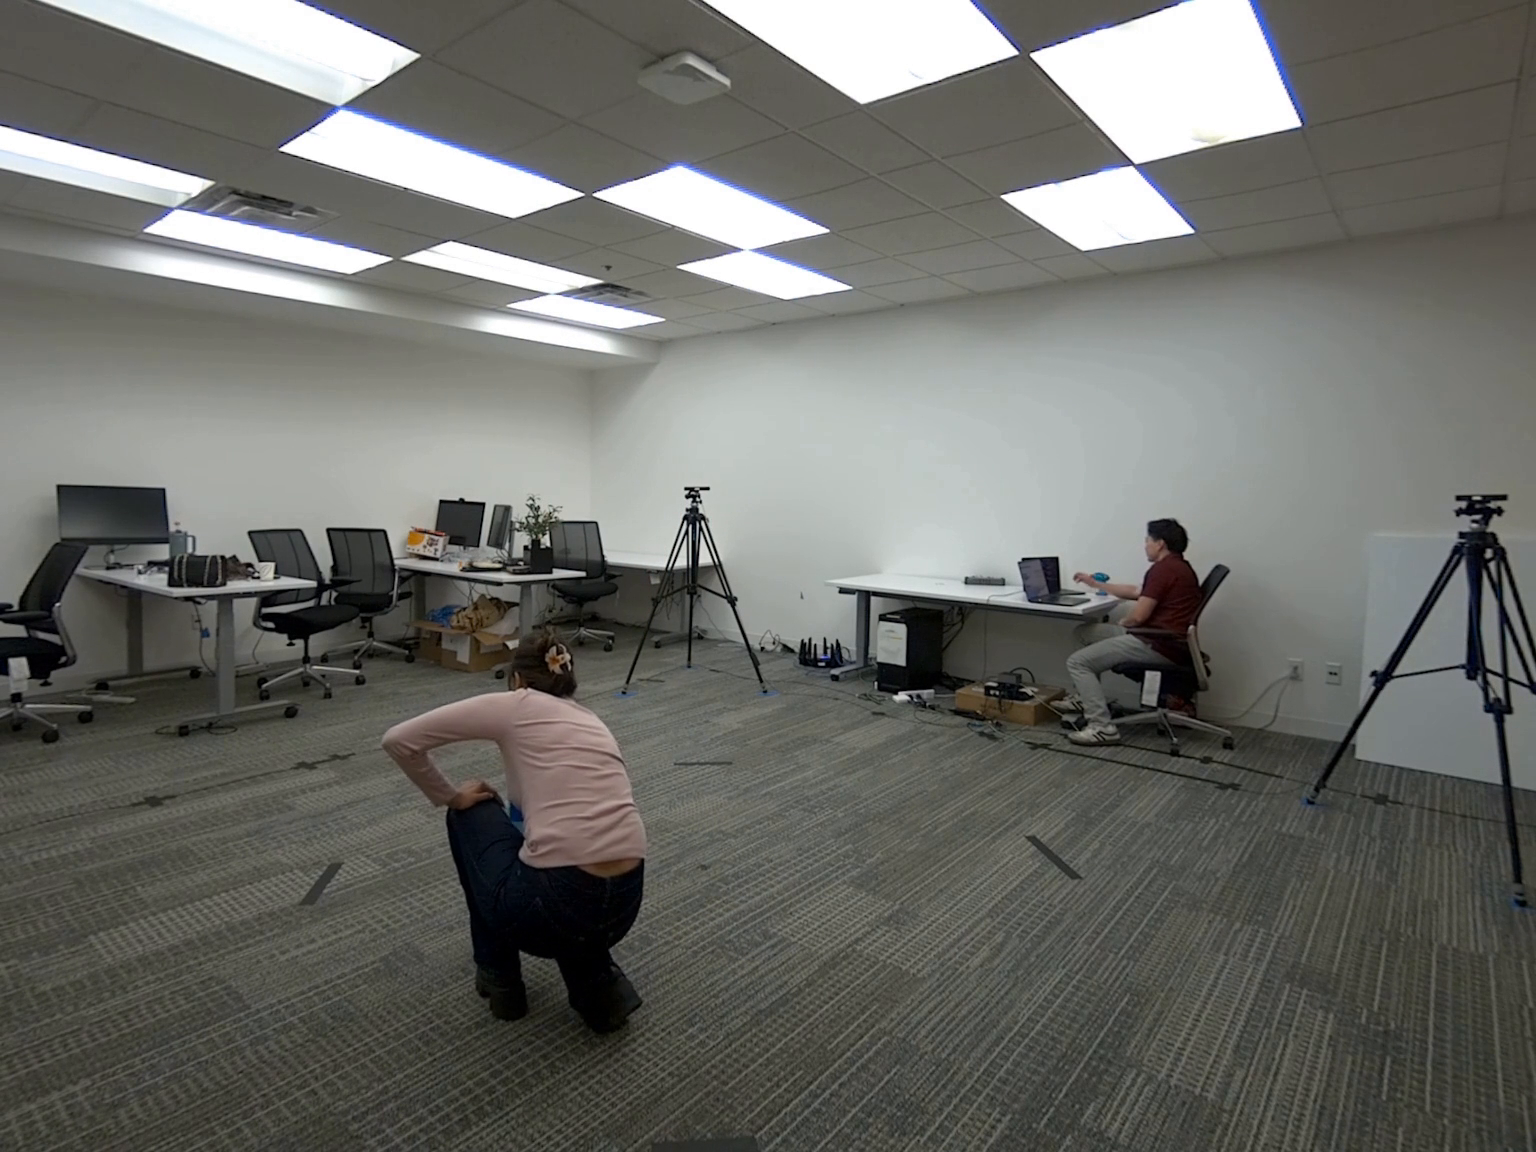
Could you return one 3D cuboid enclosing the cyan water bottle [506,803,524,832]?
[{"bbox_3d":[-0.793,0.781,2.656,0.092,0.282,0.093,8,6,-3],"label":"cyan water bottle"}]
